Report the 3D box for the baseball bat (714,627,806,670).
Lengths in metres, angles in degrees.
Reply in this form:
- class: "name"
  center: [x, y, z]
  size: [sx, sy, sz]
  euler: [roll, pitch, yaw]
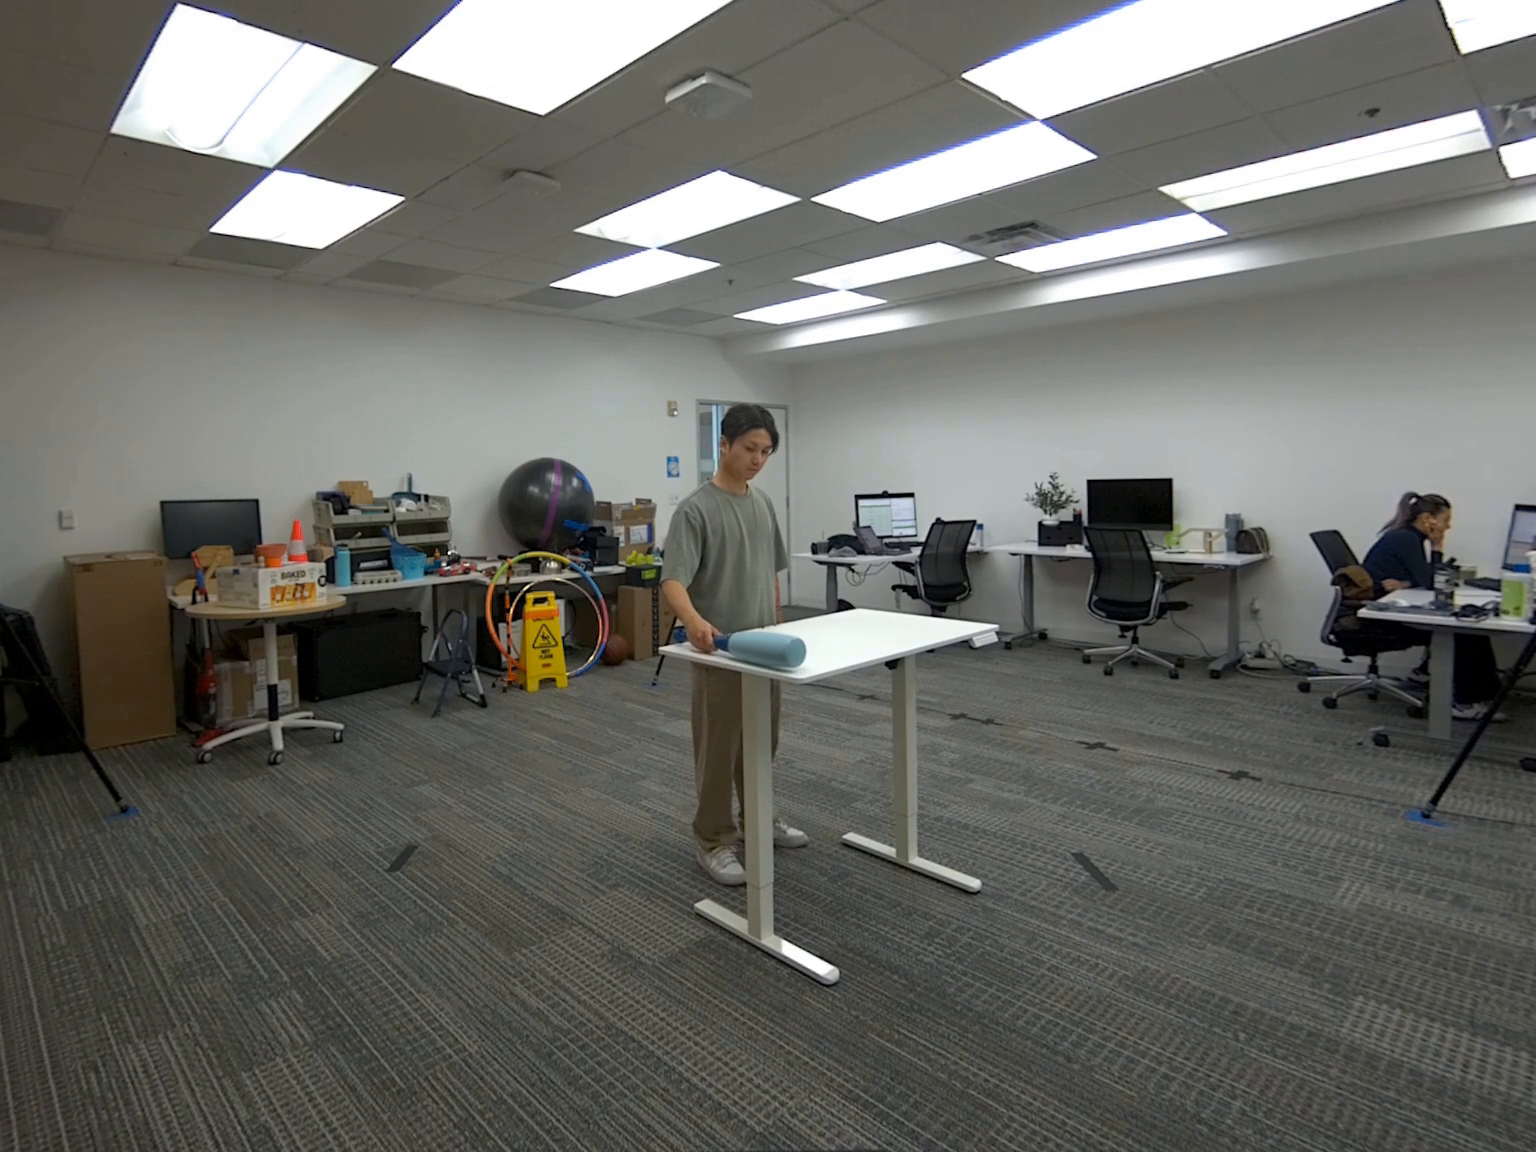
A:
- class: "baseball bat"
  center: [-0.104, 0.203, 2.480]
  size: [0.087, 0.089, 0.558]
  euler: [-5, 4, -41]
